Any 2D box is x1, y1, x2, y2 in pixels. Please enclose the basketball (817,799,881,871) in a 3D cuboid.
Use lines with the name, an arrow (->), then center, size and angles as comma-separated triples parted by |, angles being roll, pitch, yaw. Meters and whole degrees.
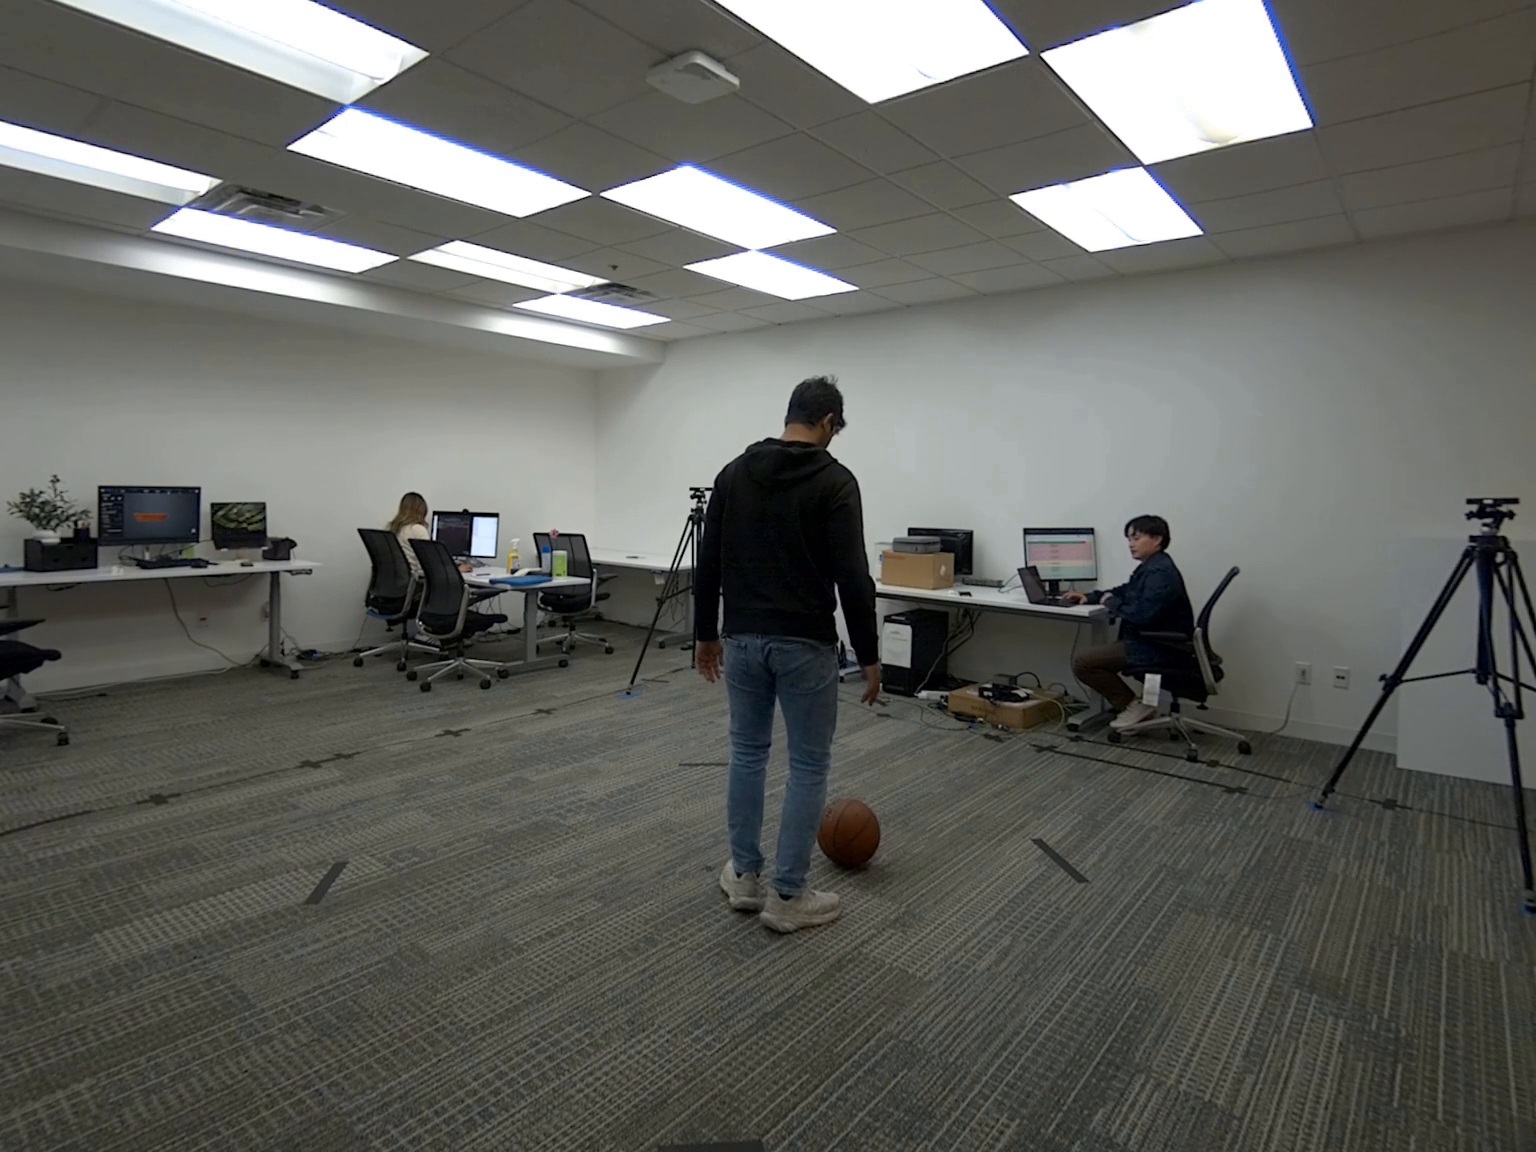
basketball -> 0.294, 0.951, 3.177 | 0.235, 0.235, 0.237 | 1, 4, -2
